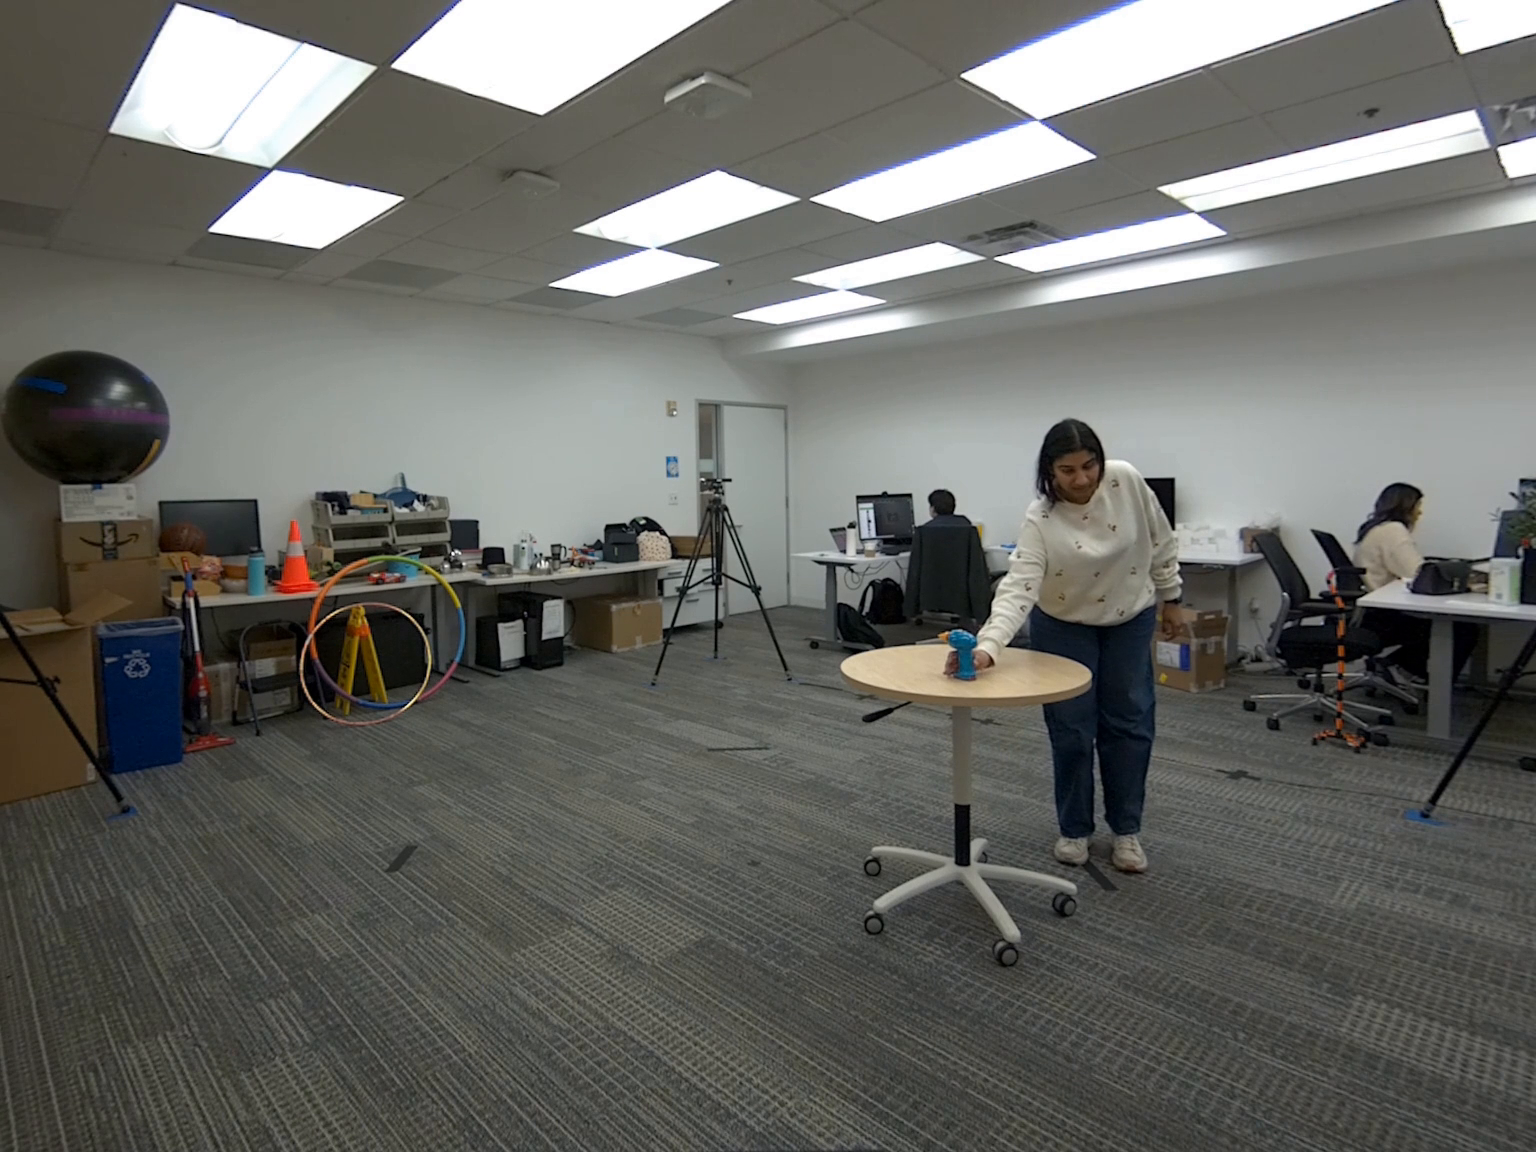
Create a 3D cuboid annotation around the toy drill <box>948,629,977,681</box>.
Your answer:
[{"bbox_3d":[0.585,0.233,2.604,0.060,0.145,0.174,-4,5,-24],"label":"toy drill"}]
